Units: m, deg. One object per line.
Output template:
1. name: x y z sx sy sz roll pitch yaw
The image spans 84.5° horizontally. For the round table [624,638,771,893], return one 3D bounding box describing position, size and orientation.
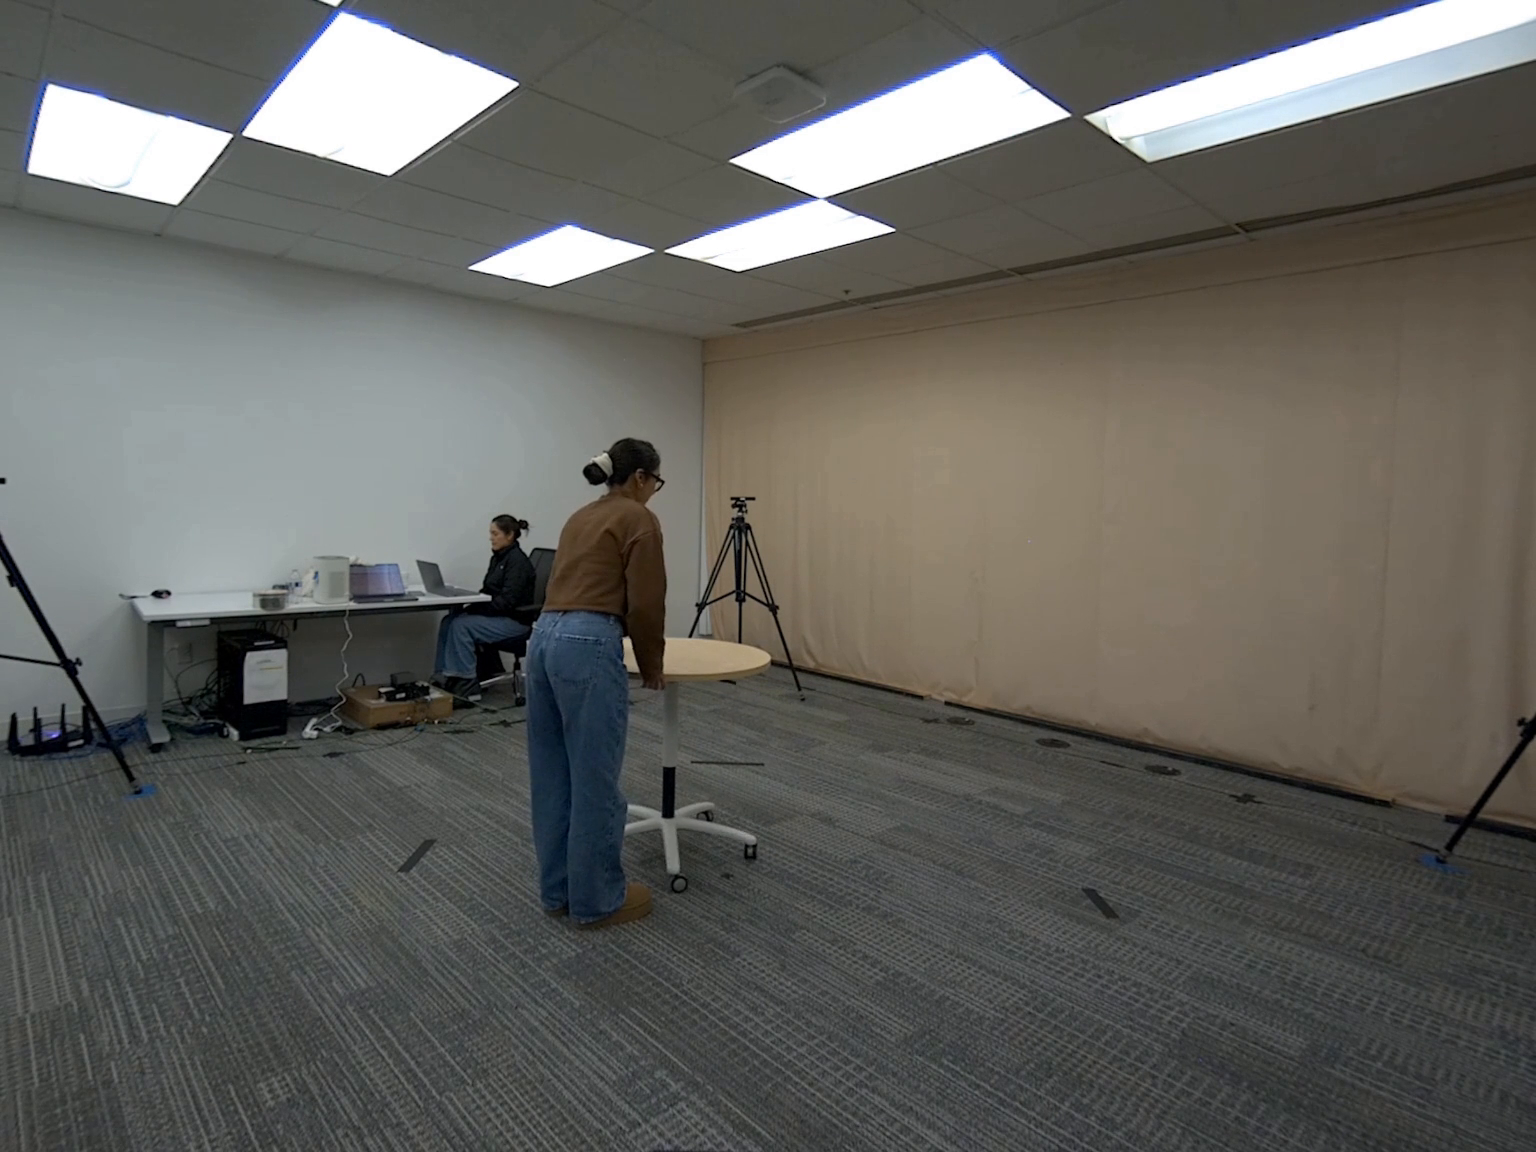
1. round table: -0.391 0.696 3.281 0.763 0.792 0.766 2 4 -1
